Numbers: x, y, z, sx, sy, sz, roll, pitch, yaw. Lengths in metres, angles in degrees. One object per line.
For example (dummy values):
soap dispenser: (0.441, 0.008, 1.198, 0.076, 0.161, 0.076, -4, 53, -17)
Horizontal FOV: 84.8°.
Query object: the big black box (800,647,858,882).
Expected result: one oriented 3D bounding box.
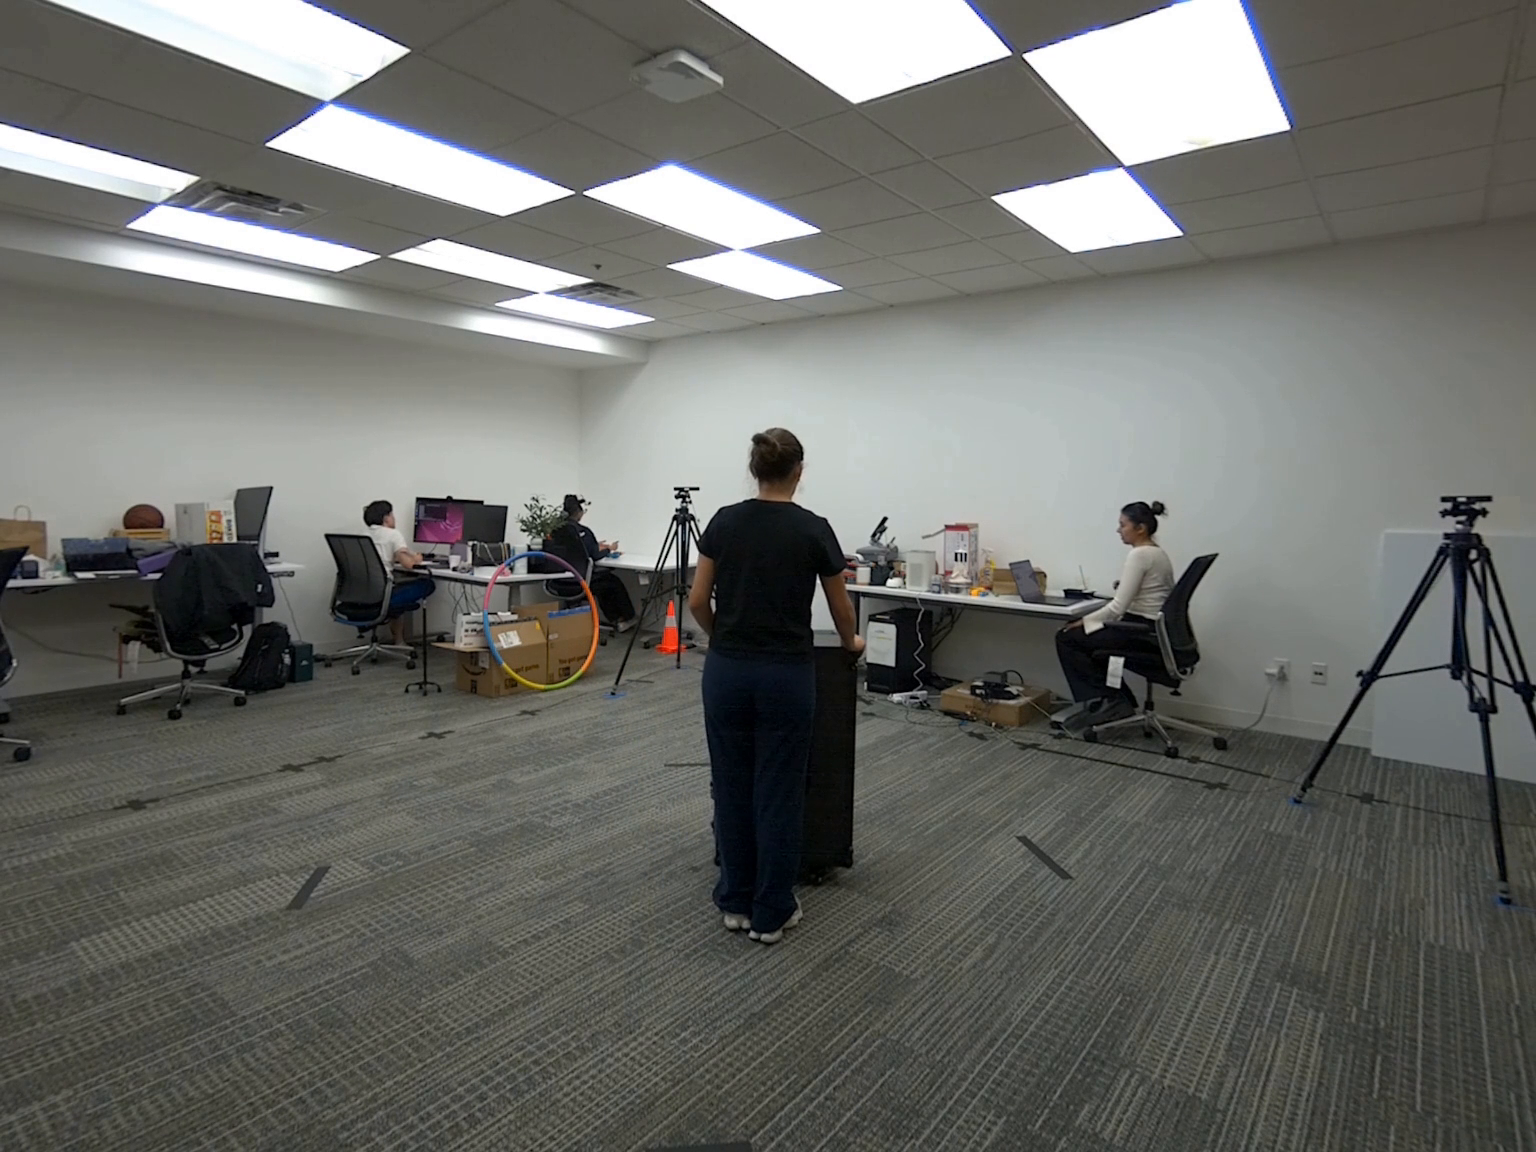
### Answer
big black box: (0.075, 0.641, 3.126, 0.520, 0.858, 0.398, 1, 4, -2)
